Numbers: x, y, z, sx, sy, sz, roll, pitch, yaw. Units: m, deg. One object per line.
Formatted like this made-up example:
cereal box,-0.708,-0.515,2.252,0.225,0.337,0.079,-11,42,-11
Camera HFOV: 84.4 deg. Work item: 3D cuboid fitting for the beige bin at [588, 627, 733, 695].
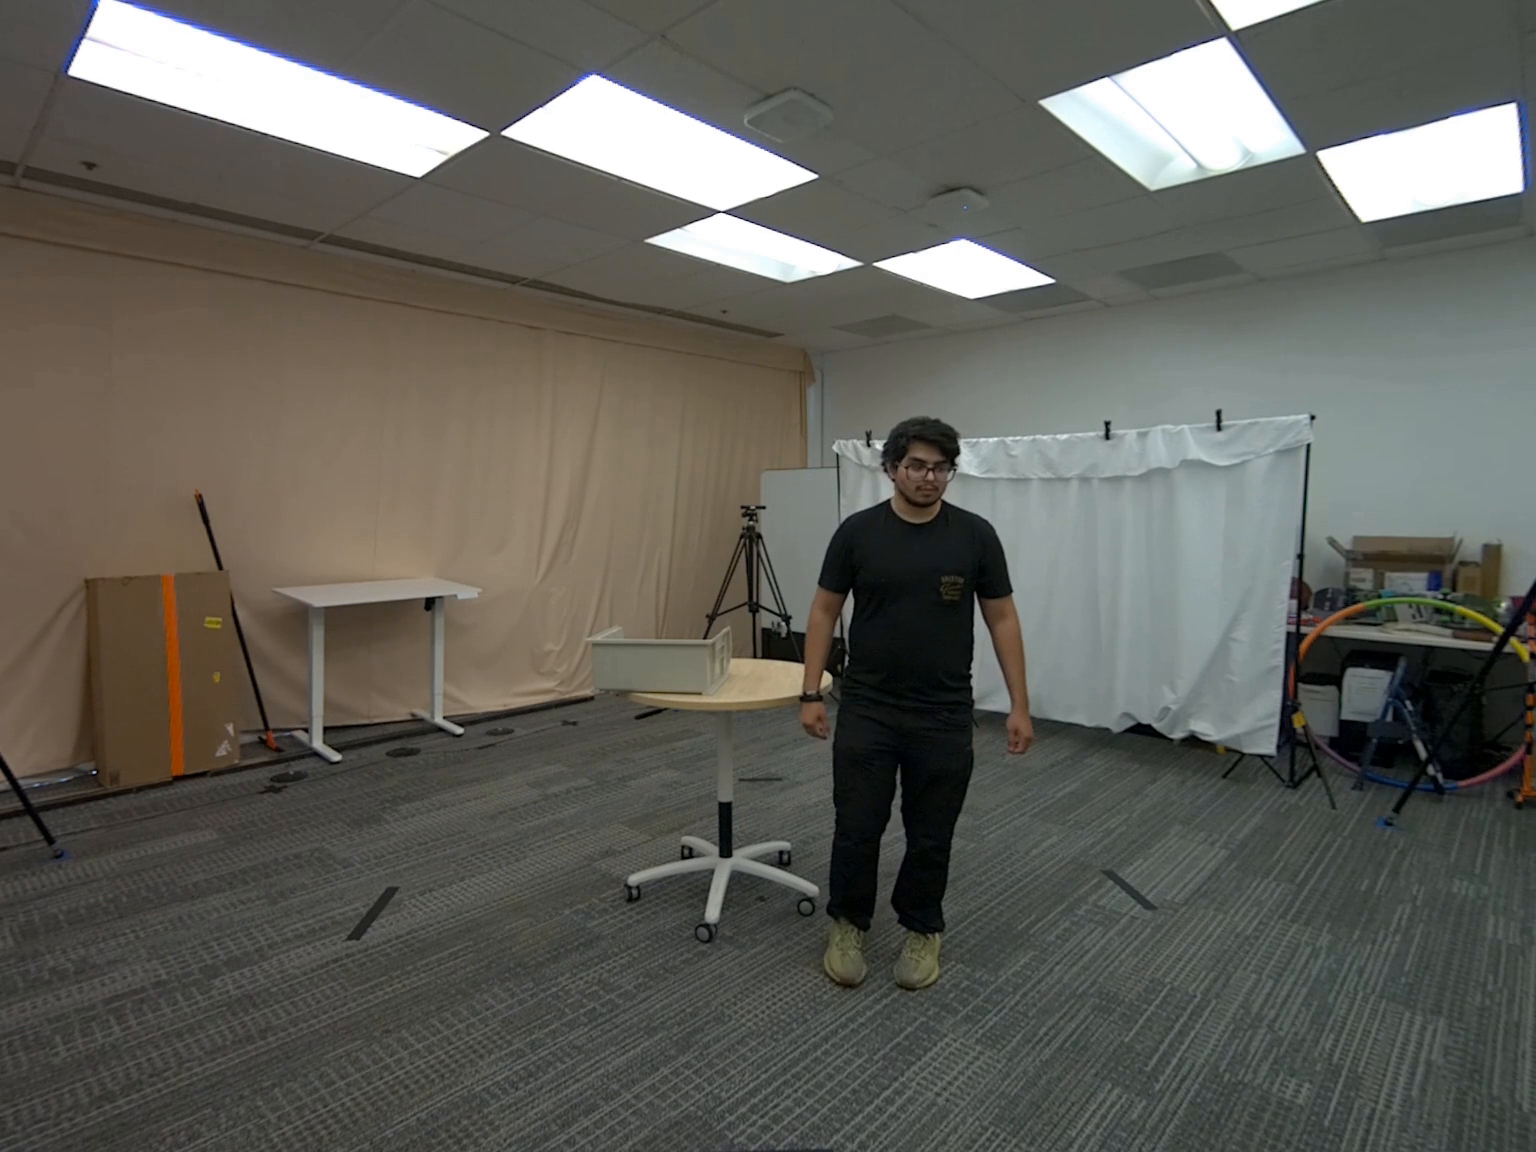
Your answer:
beige bin,-0.364,0.285,2.906,0.427,0.188,0.374,0,5,10
